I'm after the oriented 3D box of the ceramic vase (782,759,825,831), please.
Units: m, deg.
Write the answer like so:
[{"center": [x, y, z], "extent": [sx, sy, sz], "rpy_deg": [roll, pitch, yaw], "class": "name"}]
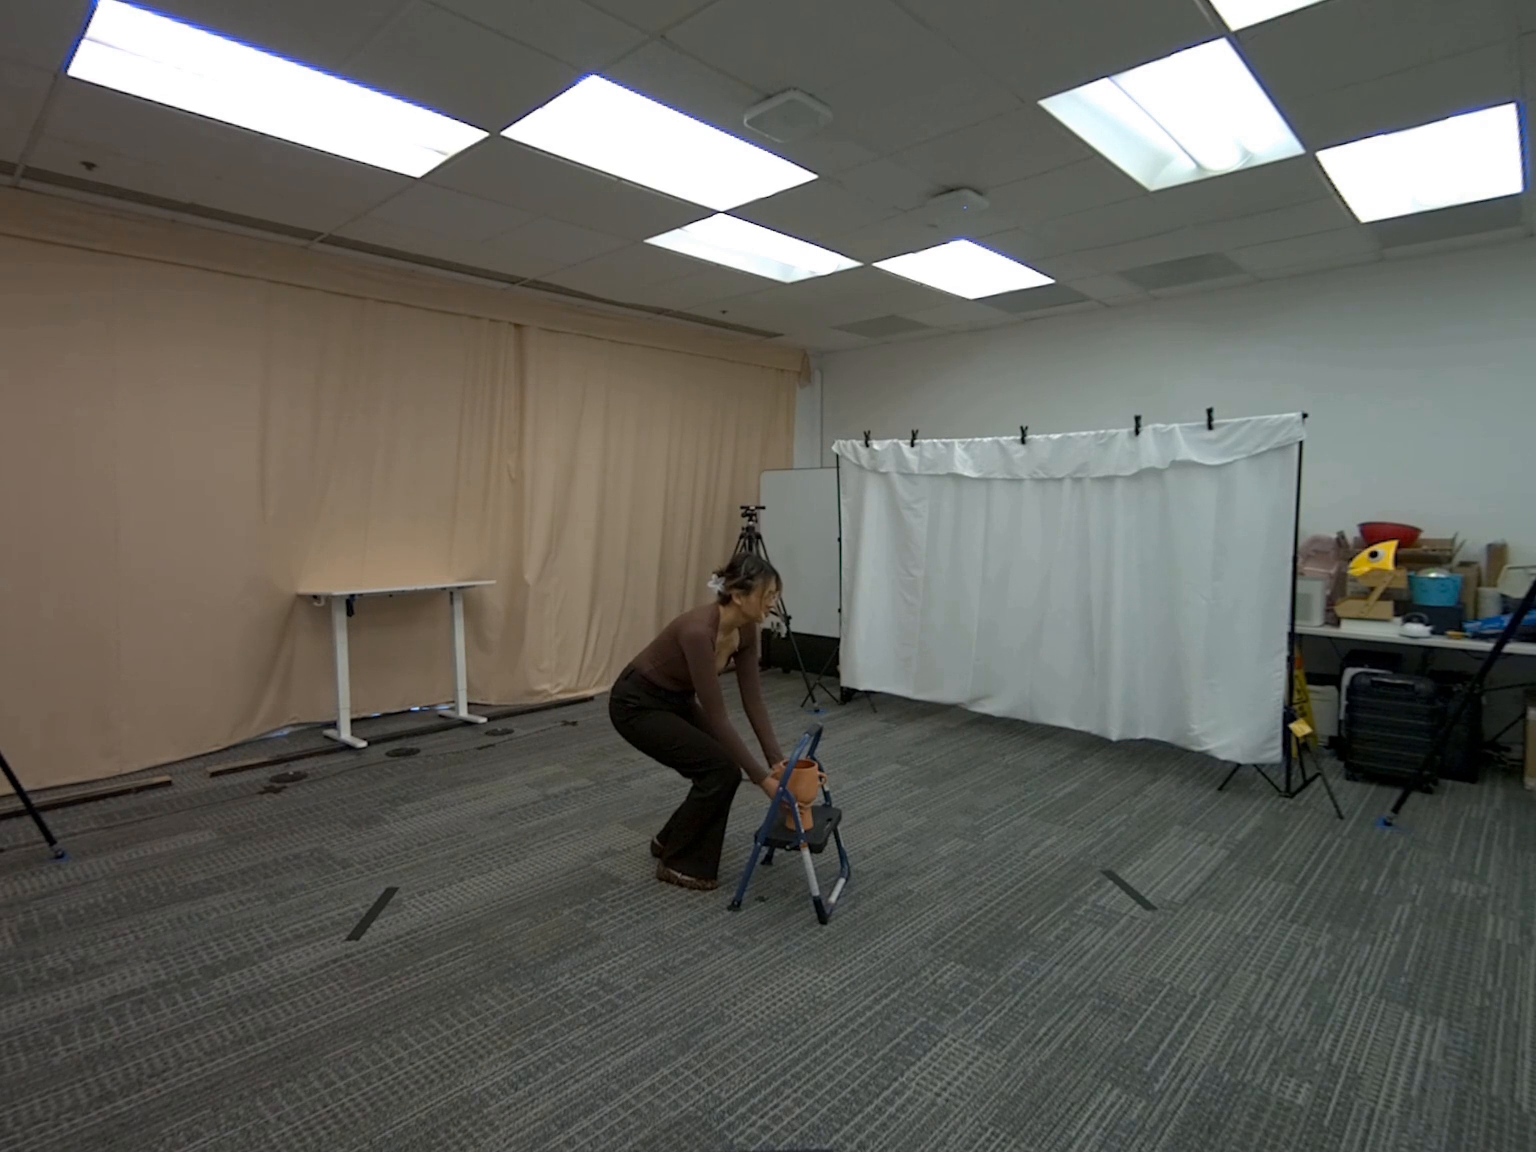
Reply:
[{"center": [0.112, 0.774, 2.969], "extent": [0.130, 0.219, 0.164], "rpy_deg": [-3, 3, -39], "class": "ceramic vase"}]
